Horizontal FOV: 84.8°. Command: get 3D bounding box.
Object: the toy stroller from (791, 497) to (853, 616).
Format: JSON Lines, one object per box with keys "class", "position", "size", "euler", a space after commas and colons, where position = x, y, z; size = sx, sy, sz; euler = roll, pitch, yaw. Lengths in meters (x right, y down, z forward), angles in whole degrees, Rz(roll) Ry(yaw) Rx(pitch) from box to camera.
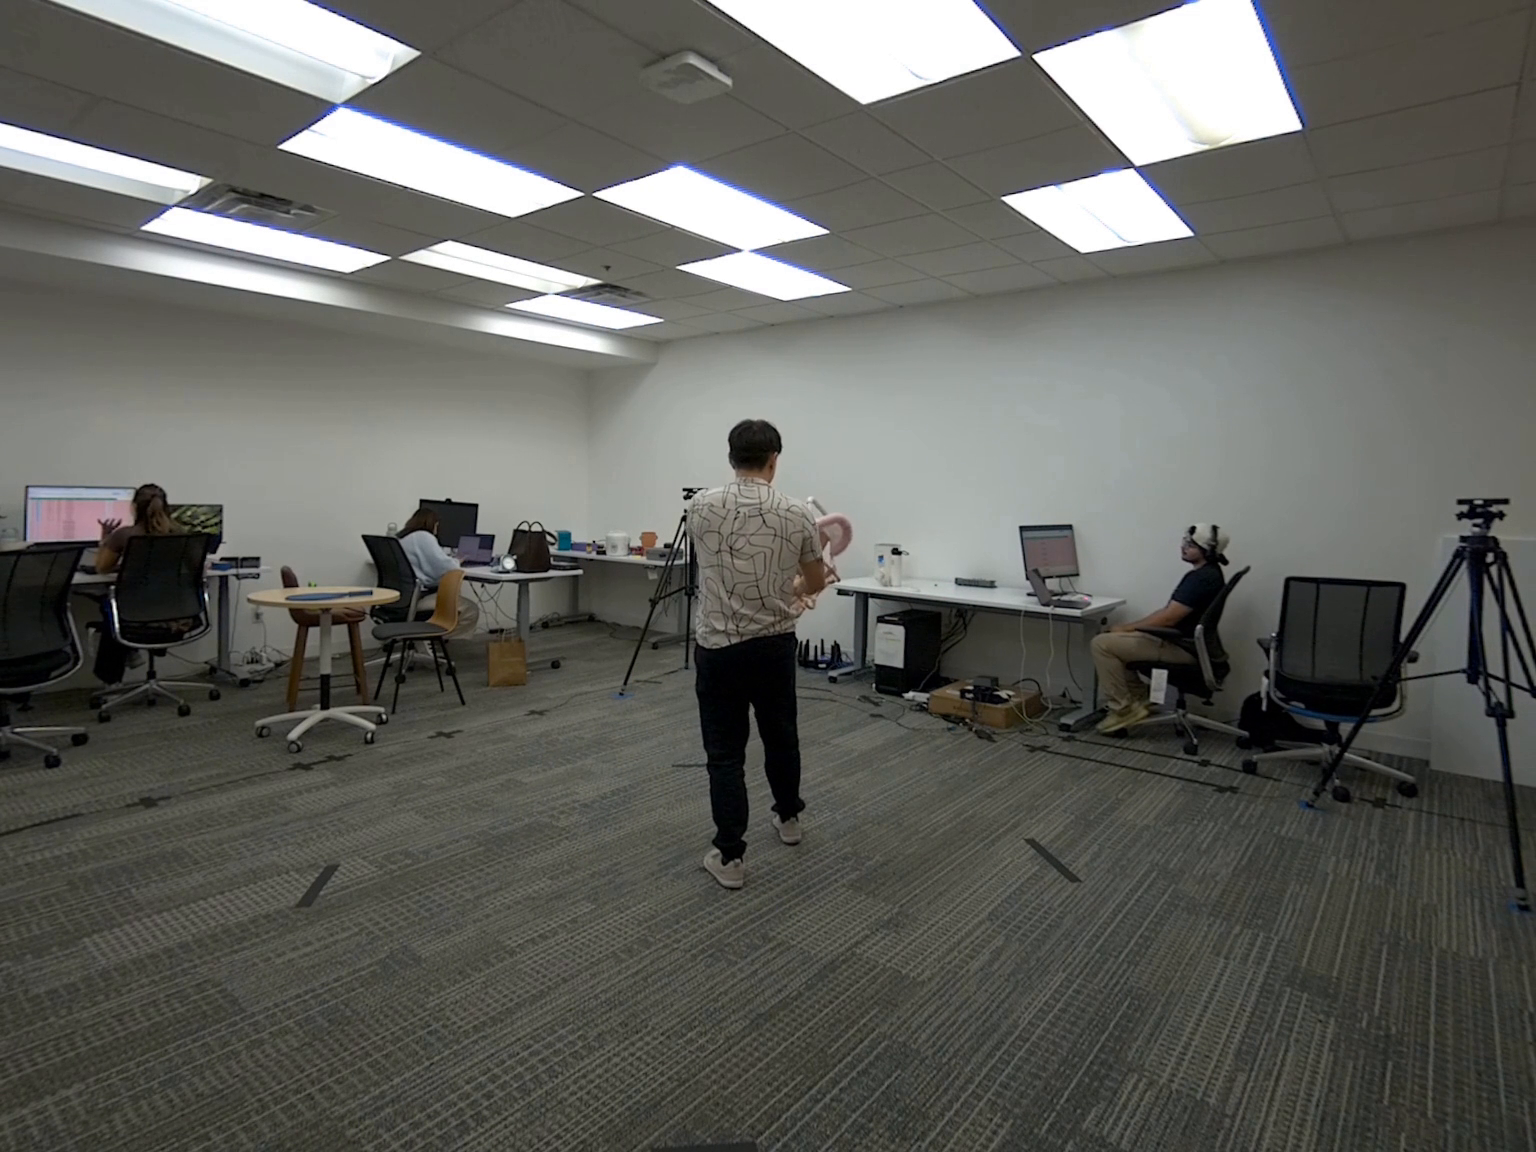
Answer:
{"class": "toy stroller", "position": [0.168, -0.074, 3.633], "size": [0.271, 0.535, 0.354], "euler": [46, -15, -31]}
